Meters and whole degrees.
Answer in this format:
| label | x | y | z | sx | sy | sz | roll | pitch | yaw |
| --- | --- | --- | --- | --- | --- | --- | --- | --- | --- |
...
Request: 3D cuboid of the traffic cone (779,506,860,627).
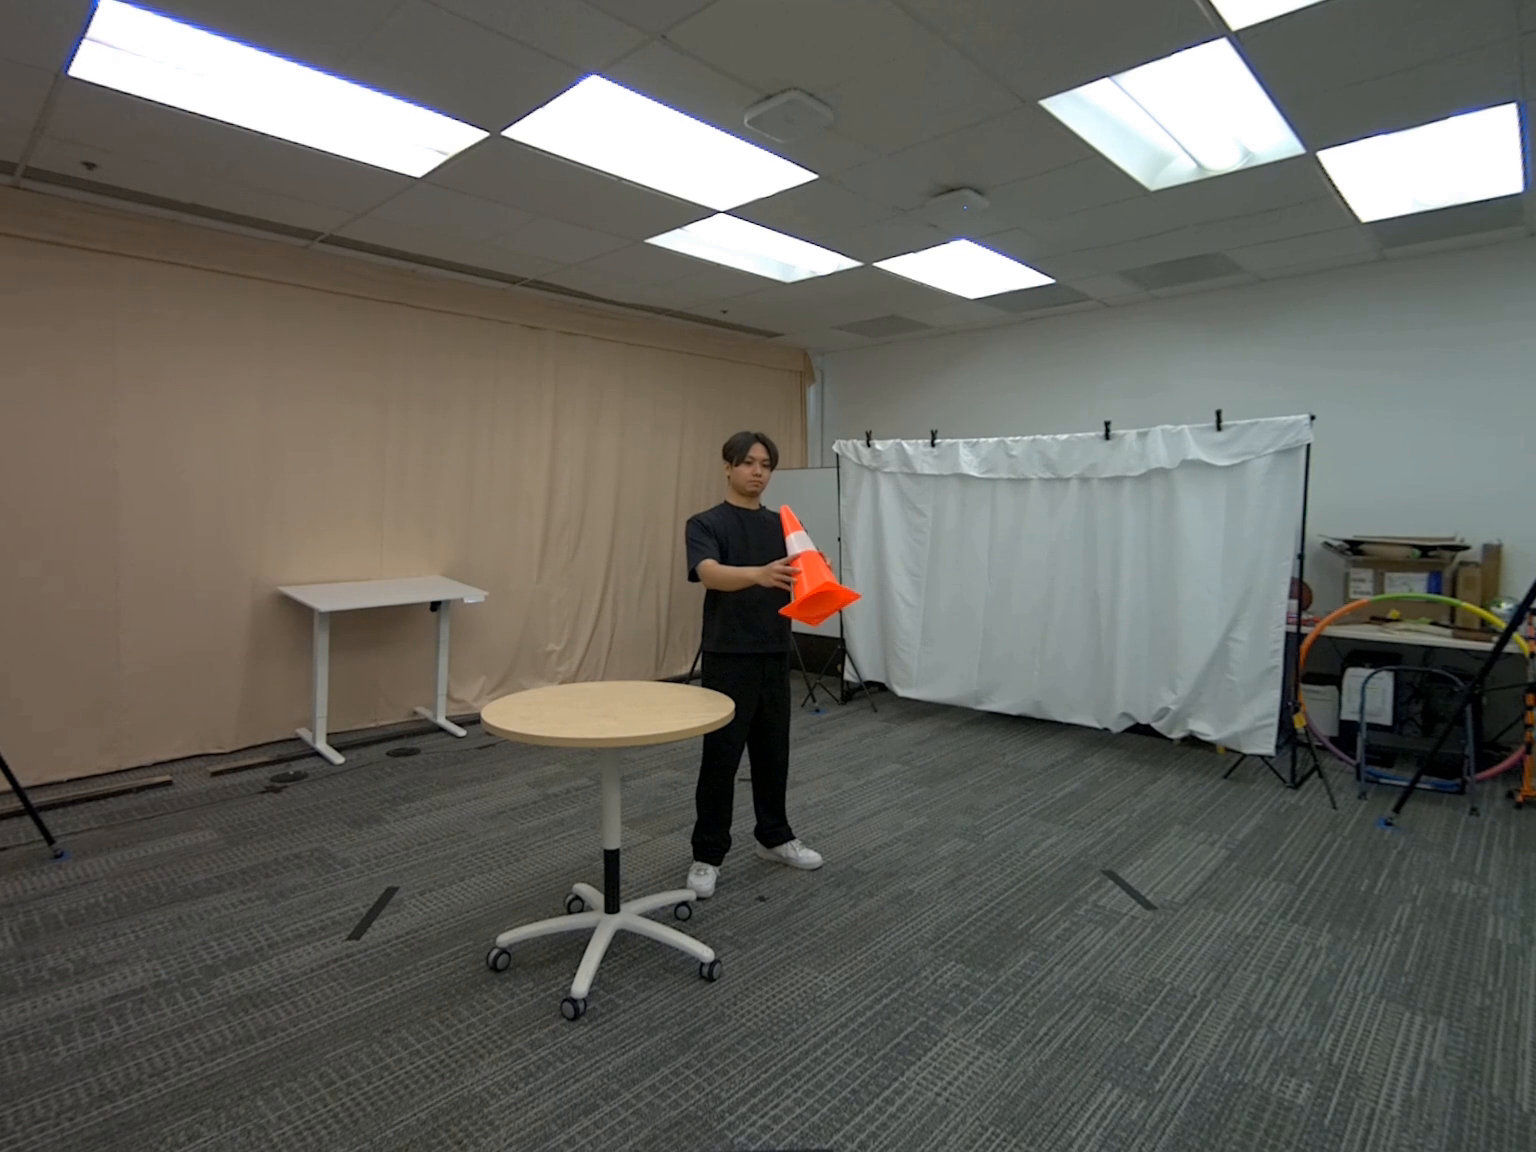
| label | x | y | z | sx | sy | sz | roll | pitch | yaw |
| --- | --- | --- | --- | --- | --- | --- | --- | --- | --- |
| traffic cone | 0.108 | -0.065 | 2.706 | 0.207 | 0.393 | 0.196 | -35 | -37 | 28 |
